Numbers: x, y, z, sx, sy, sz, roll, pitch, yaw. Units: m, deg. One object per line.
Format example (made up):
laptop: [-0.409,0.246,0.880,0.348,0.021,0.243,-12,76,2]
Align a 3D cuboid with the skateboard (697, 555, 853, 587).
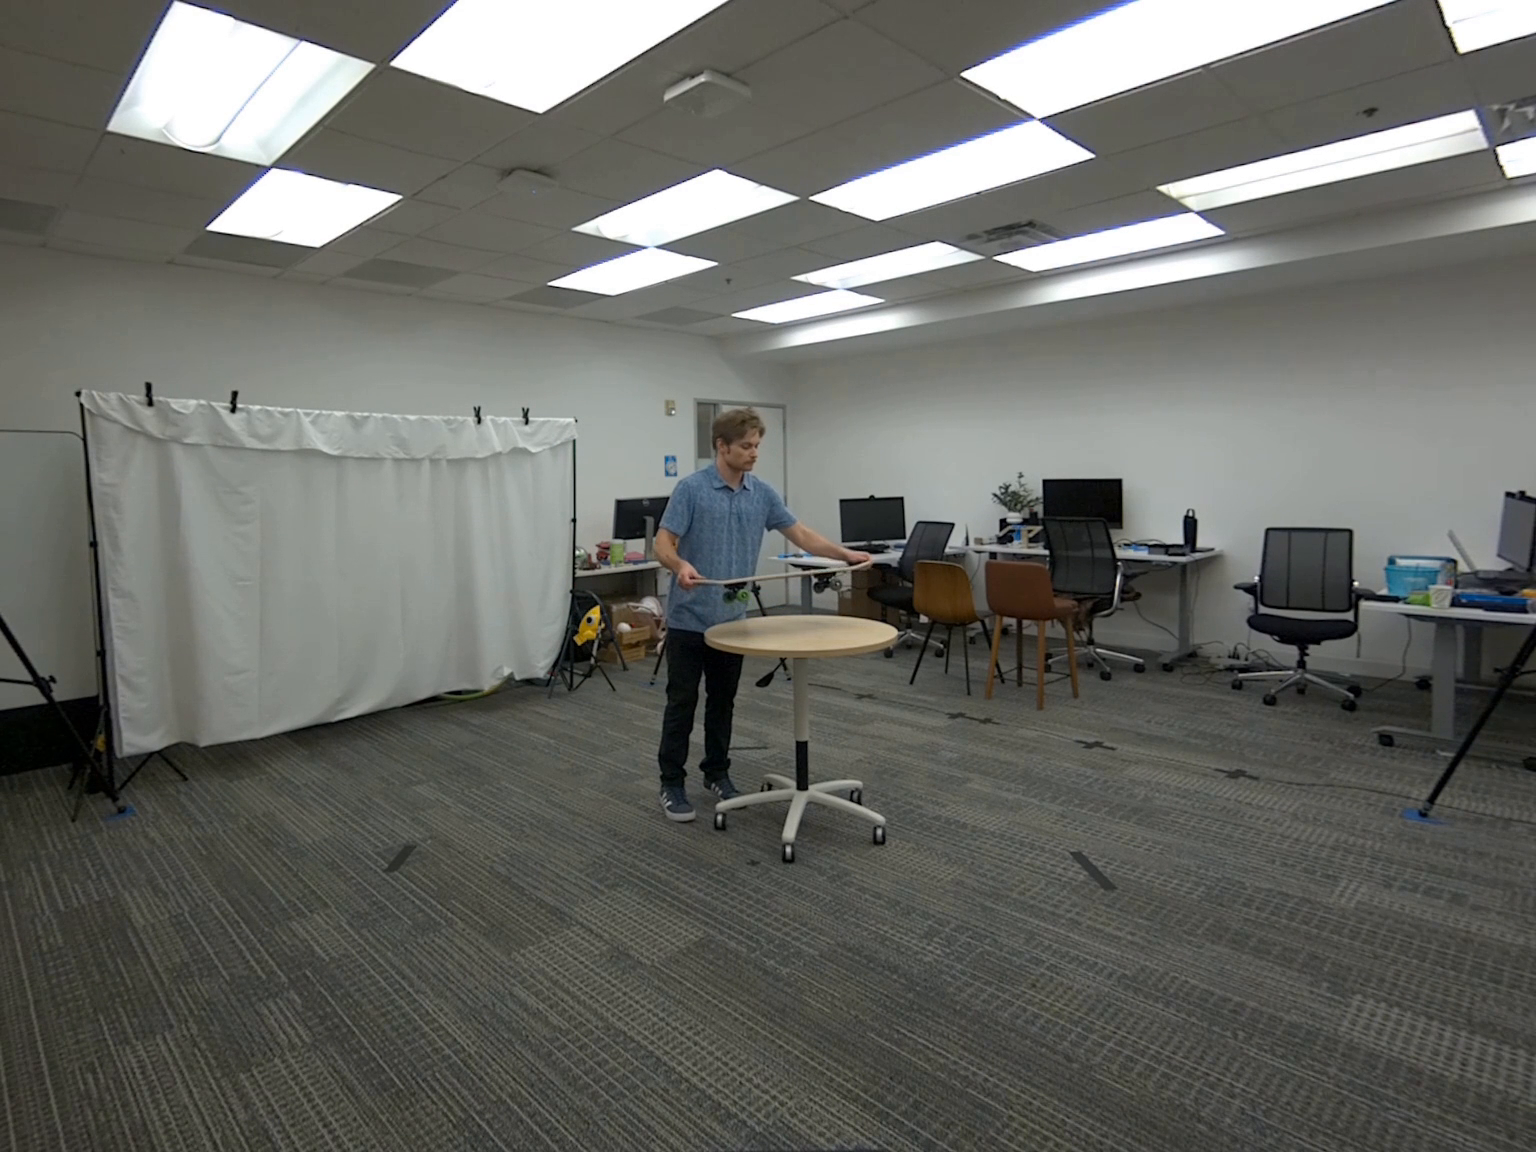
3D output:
skateboard: [0.047,0.037,3.394,0.774,0.111,0.195,-4,-3,-17]
